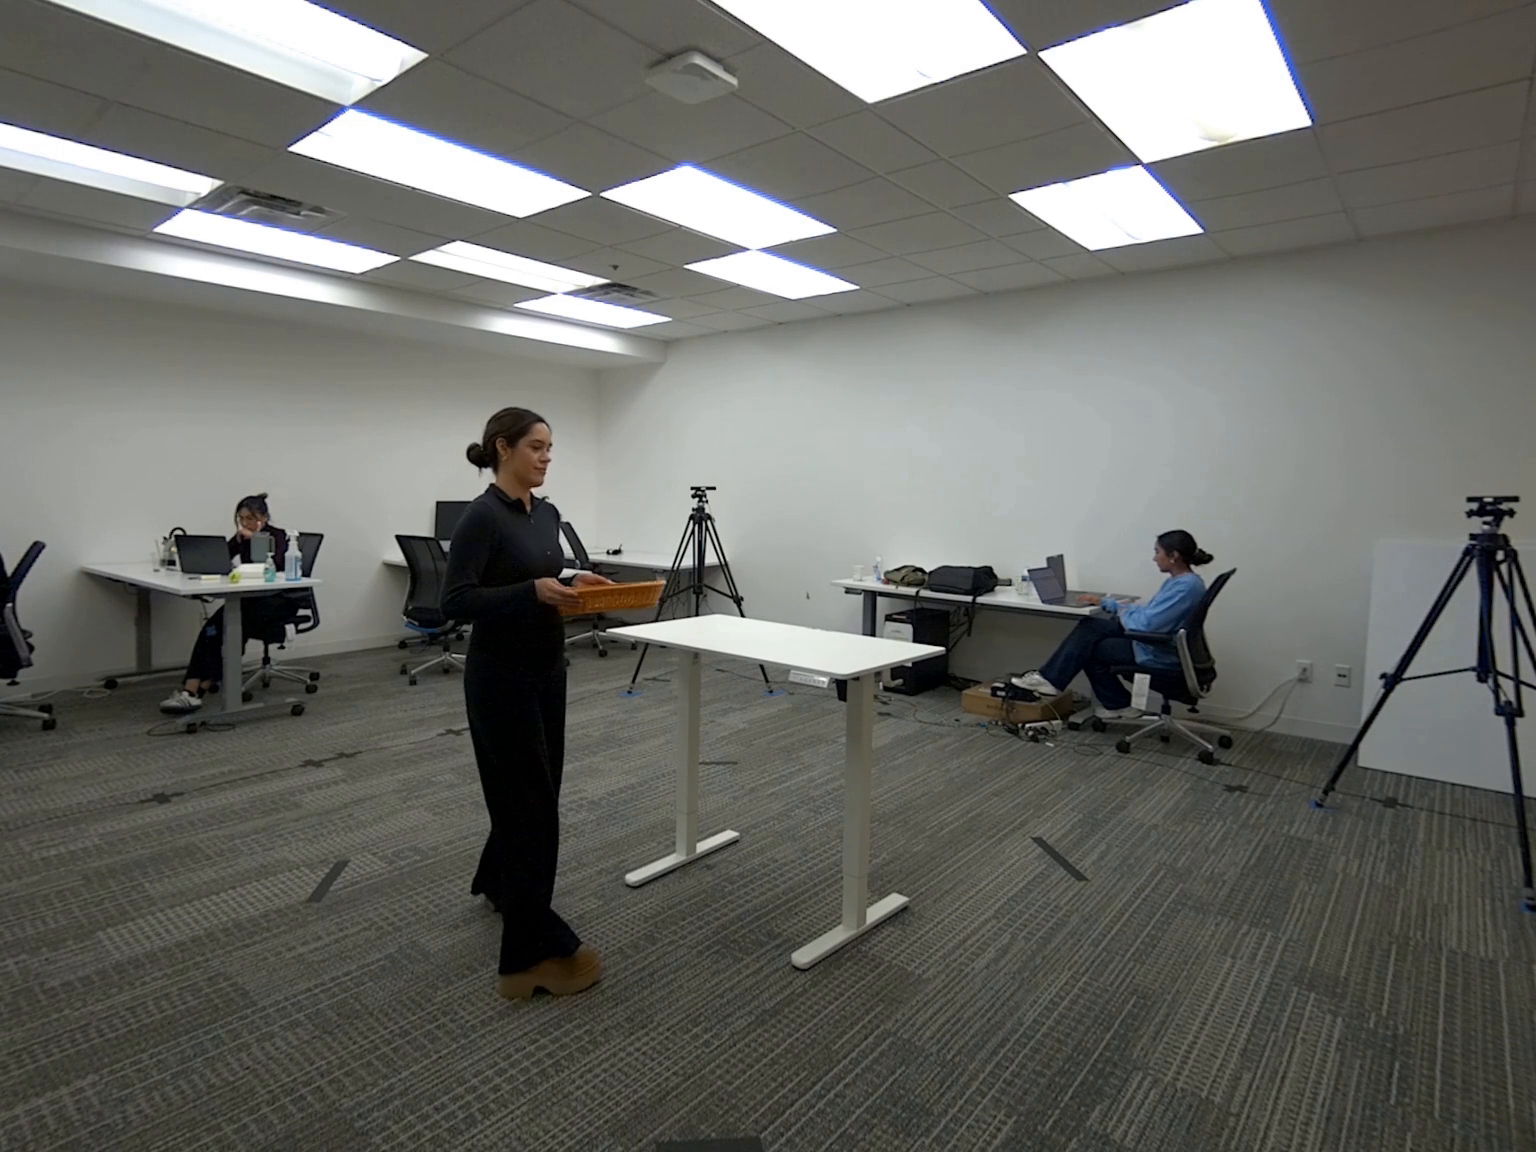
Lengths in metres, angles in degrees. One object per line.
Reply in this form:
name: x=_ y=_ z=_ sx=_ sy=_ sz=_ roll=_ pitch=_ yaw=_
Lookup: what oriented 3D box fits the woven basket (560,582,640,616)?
woven basket: x=-0.569 y=0.061 z=2.410 sx=0.256 sy=0.073 sz=0.346 roll=5 pitch=2 yaw=11
